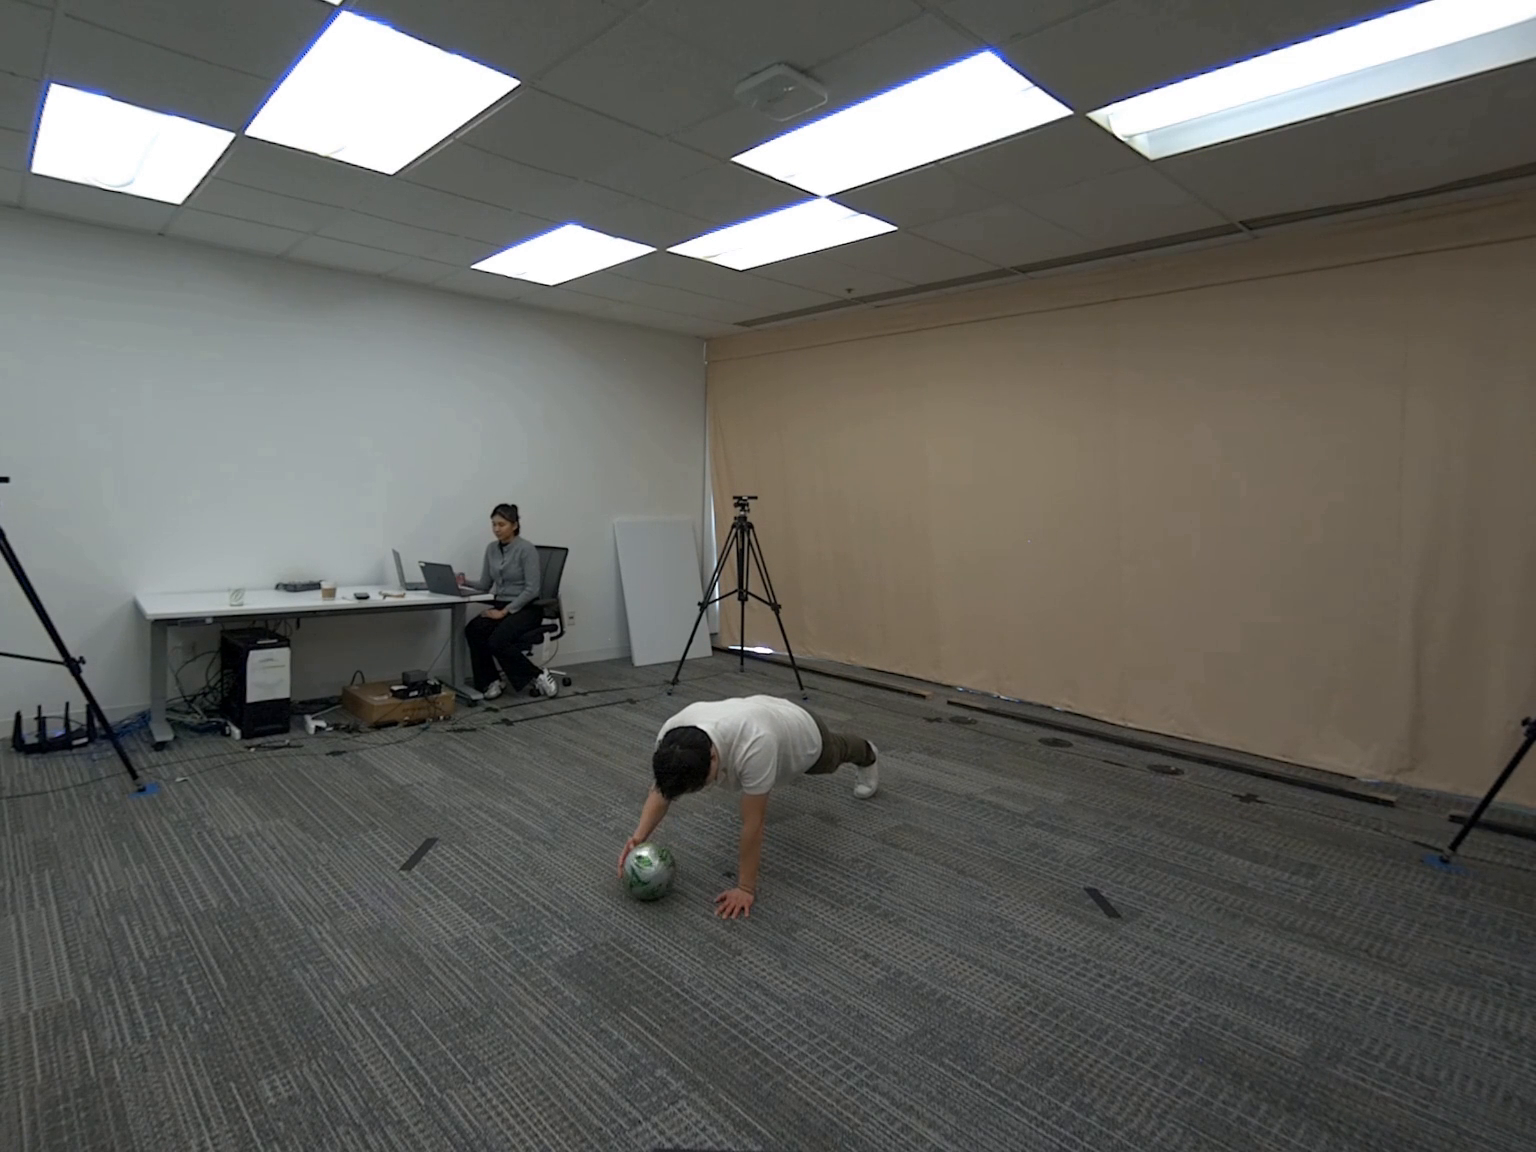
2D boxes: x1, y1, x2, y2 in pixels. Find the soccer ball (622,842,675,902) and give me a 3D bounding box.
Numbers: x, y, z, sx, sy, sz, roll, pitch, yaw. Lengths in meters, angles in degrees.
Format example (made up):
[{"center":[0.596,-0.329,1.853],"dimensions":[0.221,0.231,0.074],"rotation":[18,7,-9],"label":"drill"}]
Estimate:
[{"center":[-0.409,1.023,2.908],"dimensions":[0.187,0.187,0.188],"rotation":[1,4,-1],"label":"soccer ball"}]
